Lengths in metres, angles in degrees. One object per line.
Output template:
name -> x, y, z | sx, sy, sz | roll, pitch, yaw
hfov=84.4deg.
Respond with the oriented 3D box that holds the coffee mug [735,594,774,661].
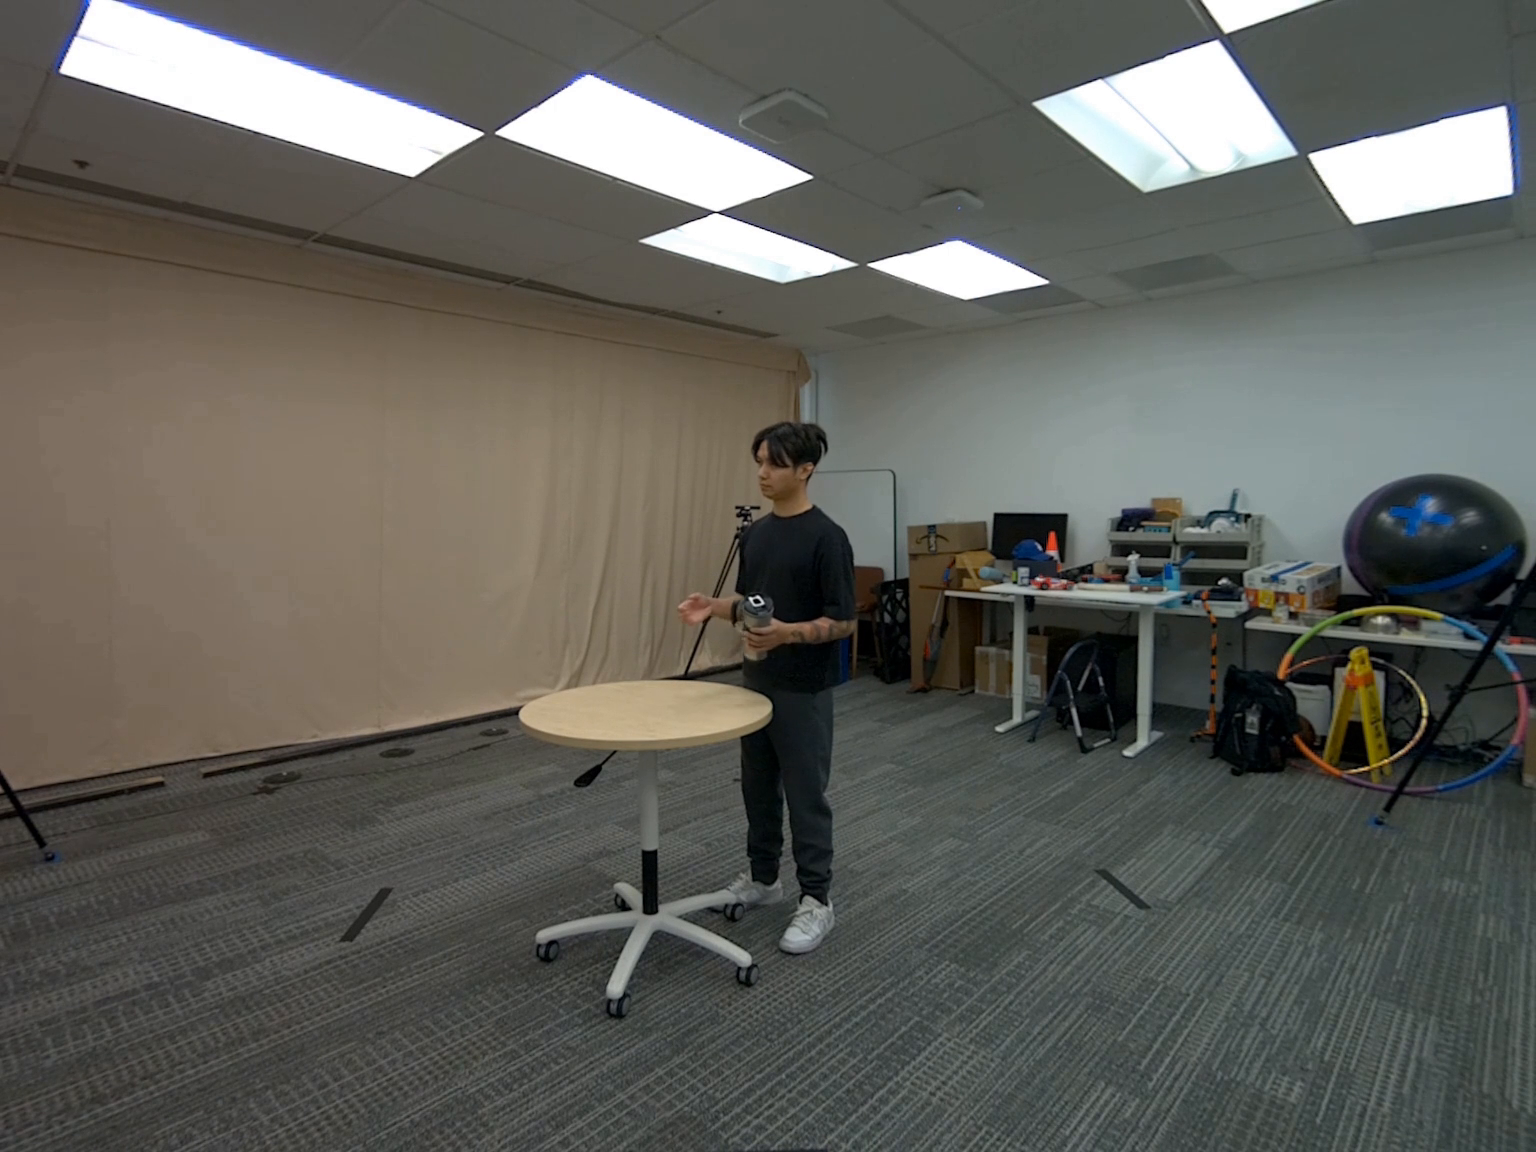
coffee mug -> -0.046, 0.147, 2.479 | 0.123, 0.200, 0.088 | 13, 36, 5
